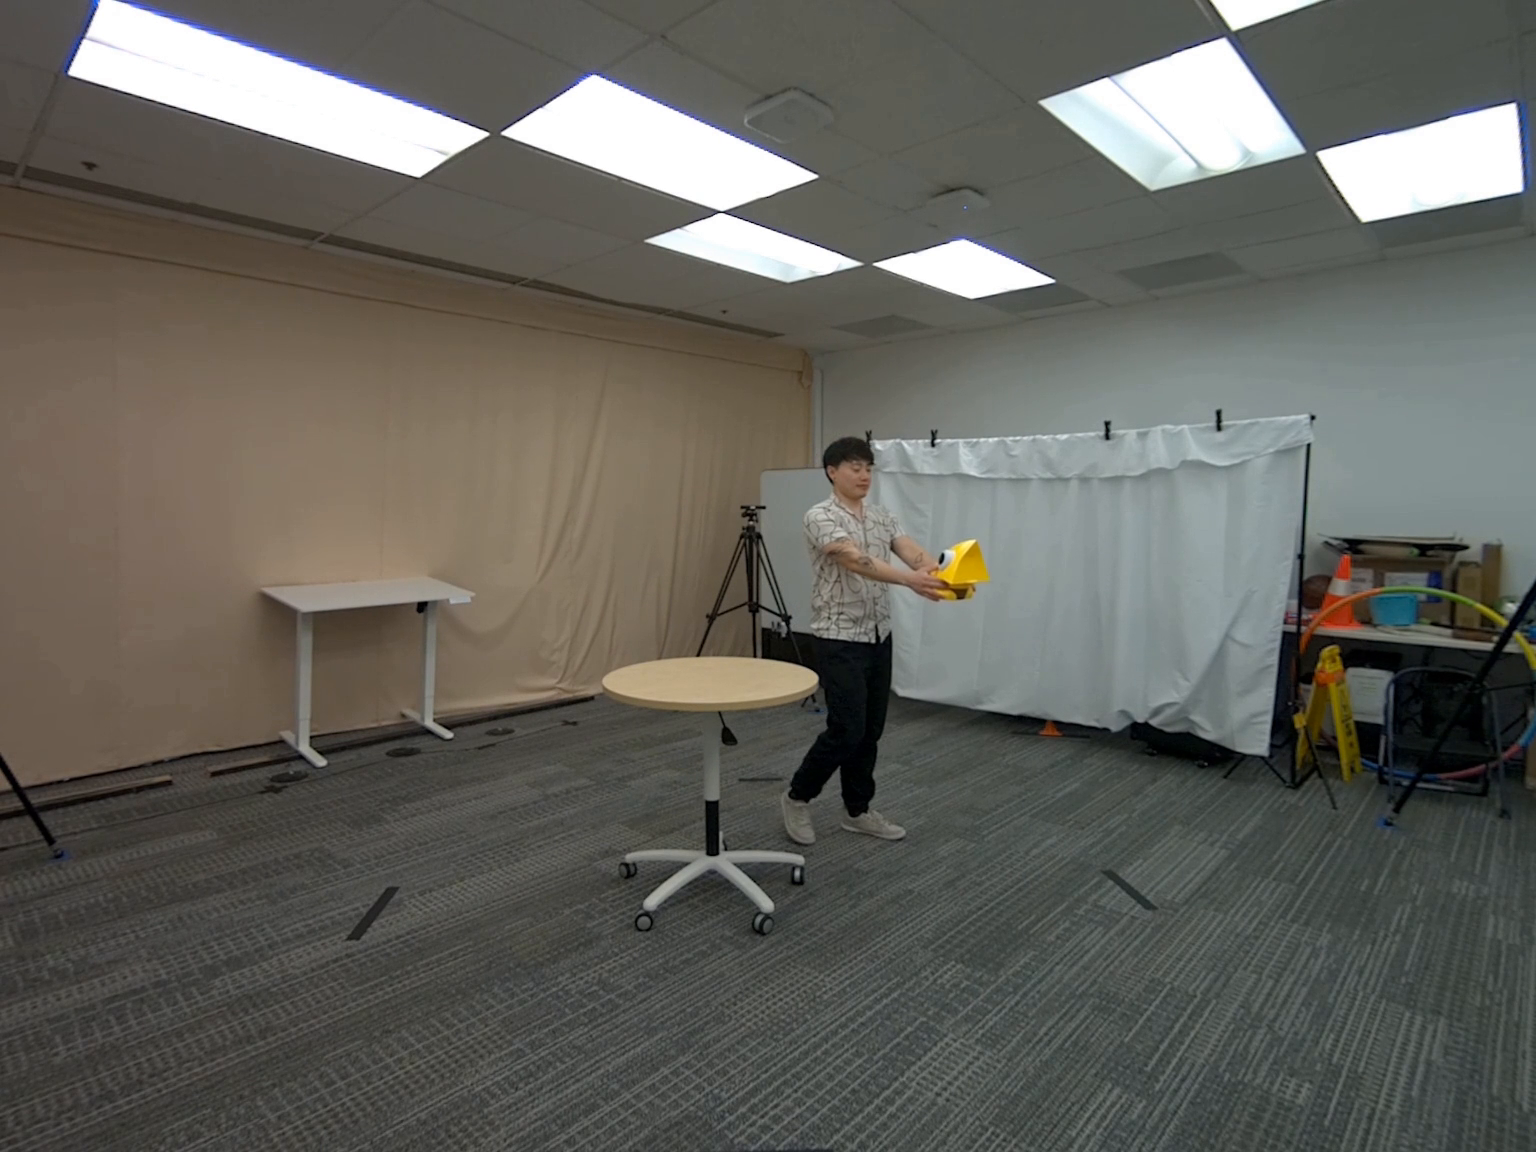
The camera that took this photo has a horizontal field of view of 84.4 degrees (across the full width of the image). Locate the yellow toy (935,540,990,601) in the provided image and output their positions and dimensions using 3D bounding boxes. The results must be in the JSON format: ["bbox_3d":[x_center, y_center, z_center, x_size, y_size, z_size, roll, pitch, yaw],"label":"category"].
[{"bbox_3d":[0.683,-0.045,3.078,0.199,0.229,0.200,-3,26,-33],"label":"yellow toy"}]
